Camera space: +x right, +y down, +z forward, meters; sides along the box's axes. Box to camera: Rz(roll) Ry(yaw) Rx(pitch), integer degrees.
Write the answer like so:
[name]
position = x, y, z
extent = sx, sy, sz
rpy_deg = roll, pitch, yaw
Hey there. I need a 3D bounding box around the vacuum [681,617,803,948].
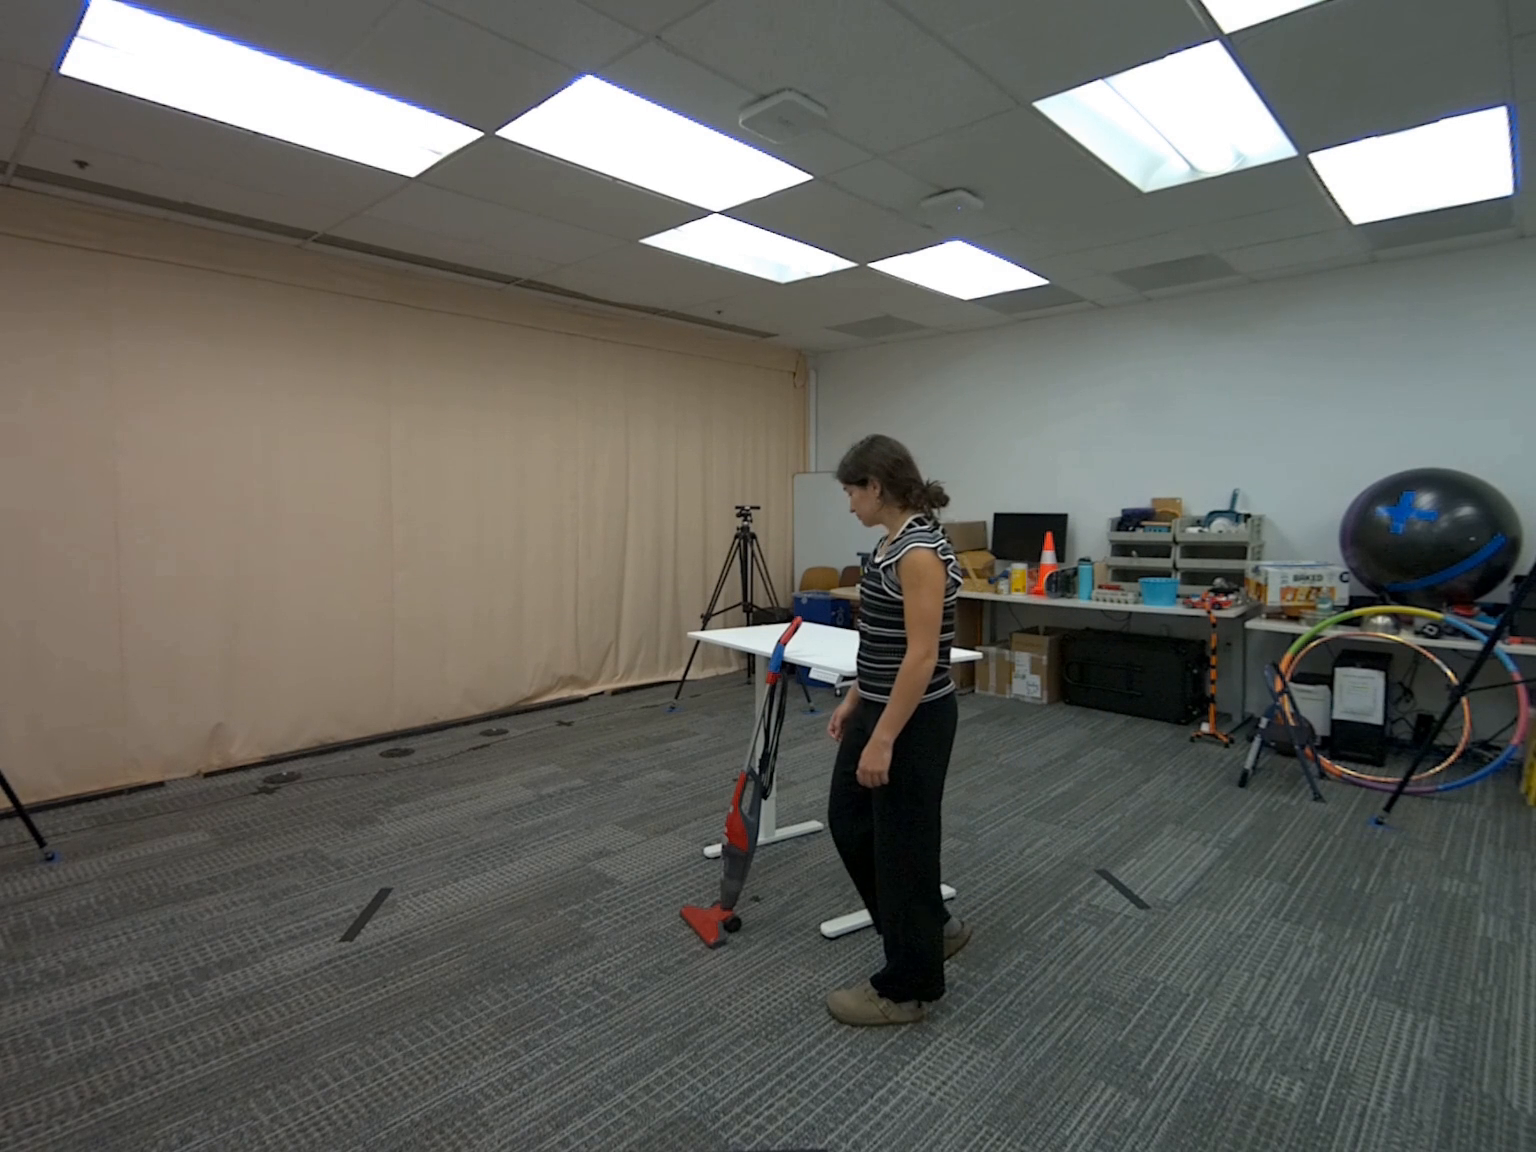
[vacuum]
position = -0.047, 0.665, 2.815
extent = 0.140, 1.050, 0.259
rpy_deg = 16, -4, -28
